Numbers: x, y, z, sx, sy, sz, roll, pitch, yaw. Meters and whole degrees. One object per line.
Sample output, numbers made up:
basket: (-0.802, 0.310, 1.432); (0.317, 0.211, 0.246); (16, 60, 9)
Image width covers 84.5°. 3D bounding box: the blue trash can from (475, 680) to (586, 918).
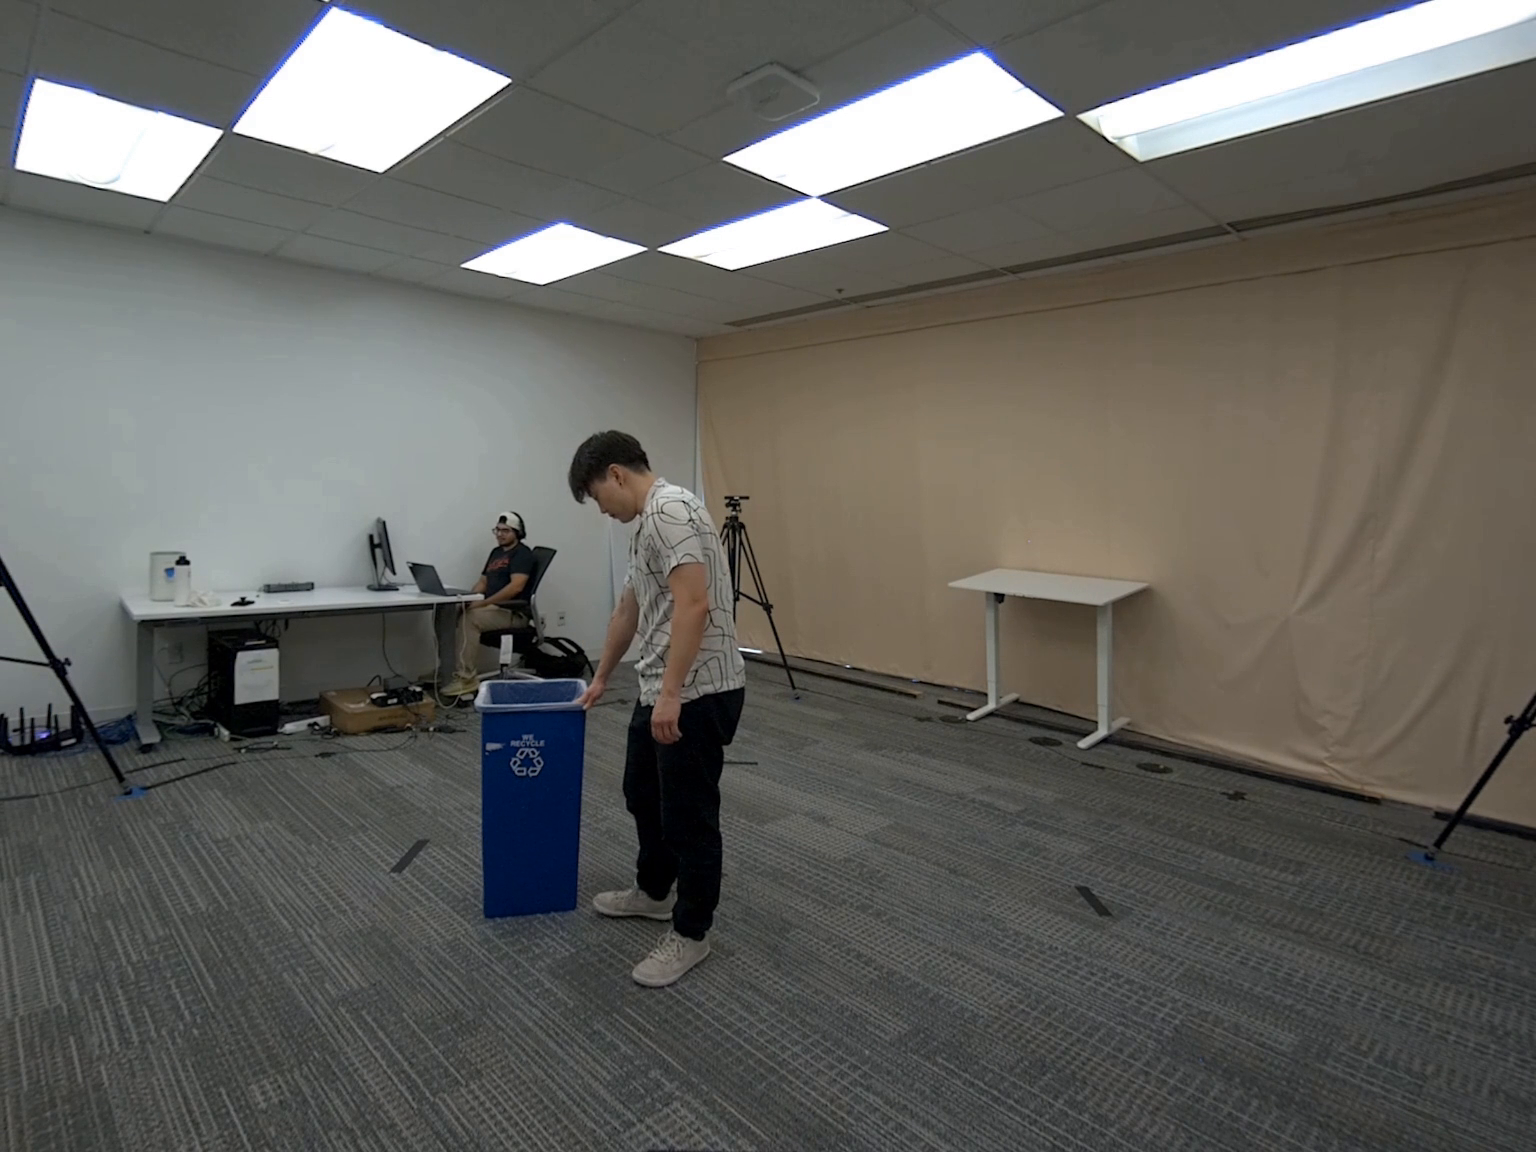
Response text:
blue trash can: (-0.815, 0.750, 2.909); (0.369, 0.711, 0.384); (1, 4, -15)
